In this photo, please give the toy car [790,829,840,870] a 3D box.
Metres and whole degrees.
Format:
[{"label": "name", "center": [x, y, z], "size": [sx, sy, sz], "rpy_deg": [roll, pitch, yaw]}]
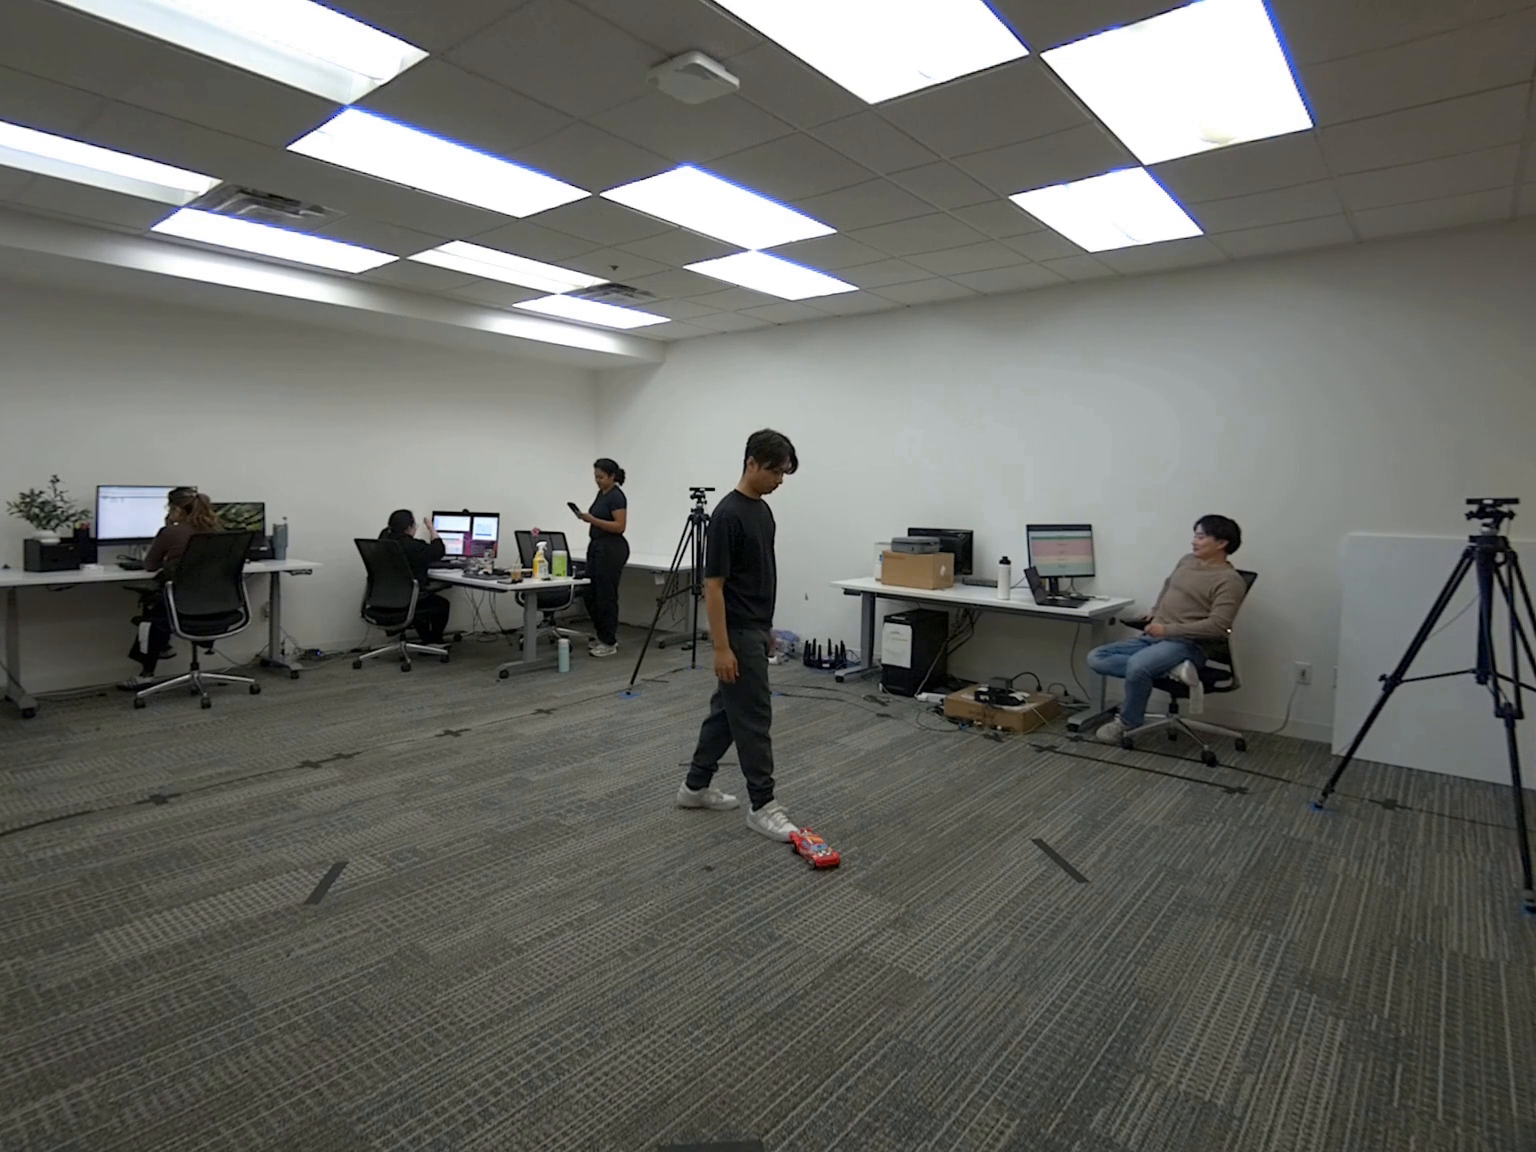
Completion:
[{"label": "toy car", "center": [0.163, 1.031, 3.234], "size": [0.127, 0.082, 0.263], "rpy_deg": [-1, 17, -23]}]
